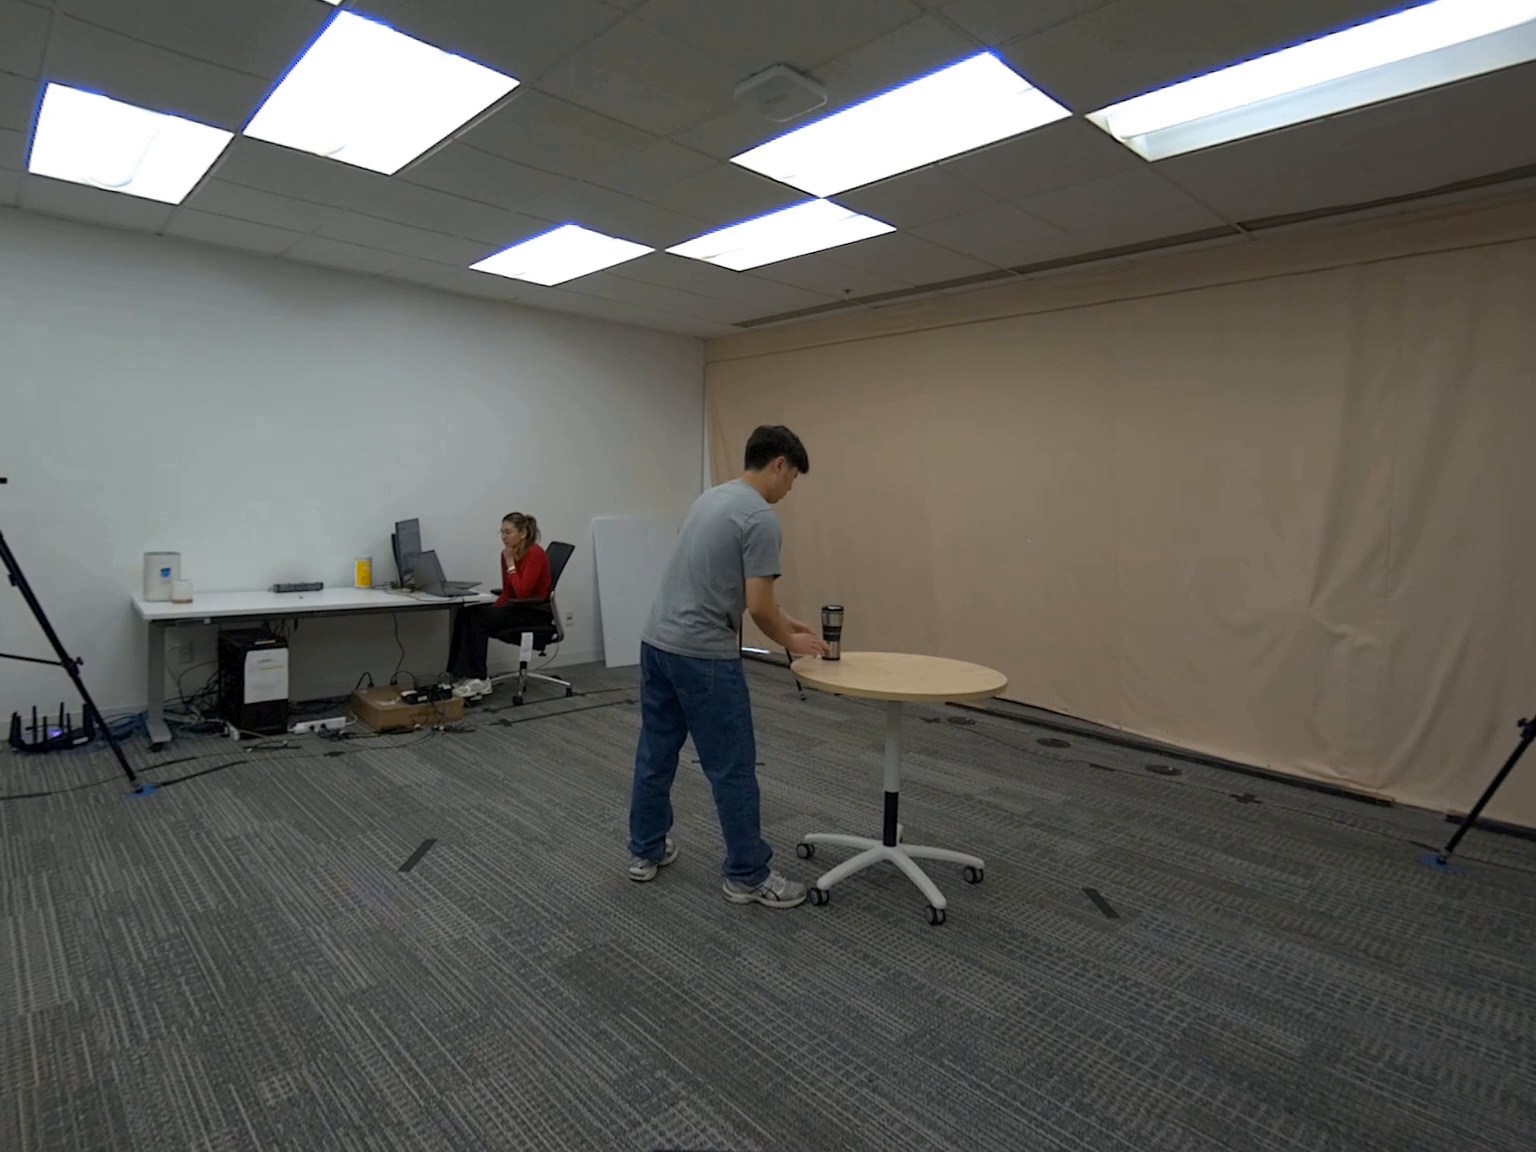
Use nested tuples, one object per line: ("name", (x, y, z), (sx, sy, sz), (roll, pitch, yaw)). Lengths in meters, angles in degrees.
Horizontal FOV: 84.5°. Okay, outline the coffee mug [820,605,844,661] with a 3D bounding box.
("coffee mug", (0.257, 0.221, 3.250), (0.090, 0.202, 0.120), (0, 5, 32))
